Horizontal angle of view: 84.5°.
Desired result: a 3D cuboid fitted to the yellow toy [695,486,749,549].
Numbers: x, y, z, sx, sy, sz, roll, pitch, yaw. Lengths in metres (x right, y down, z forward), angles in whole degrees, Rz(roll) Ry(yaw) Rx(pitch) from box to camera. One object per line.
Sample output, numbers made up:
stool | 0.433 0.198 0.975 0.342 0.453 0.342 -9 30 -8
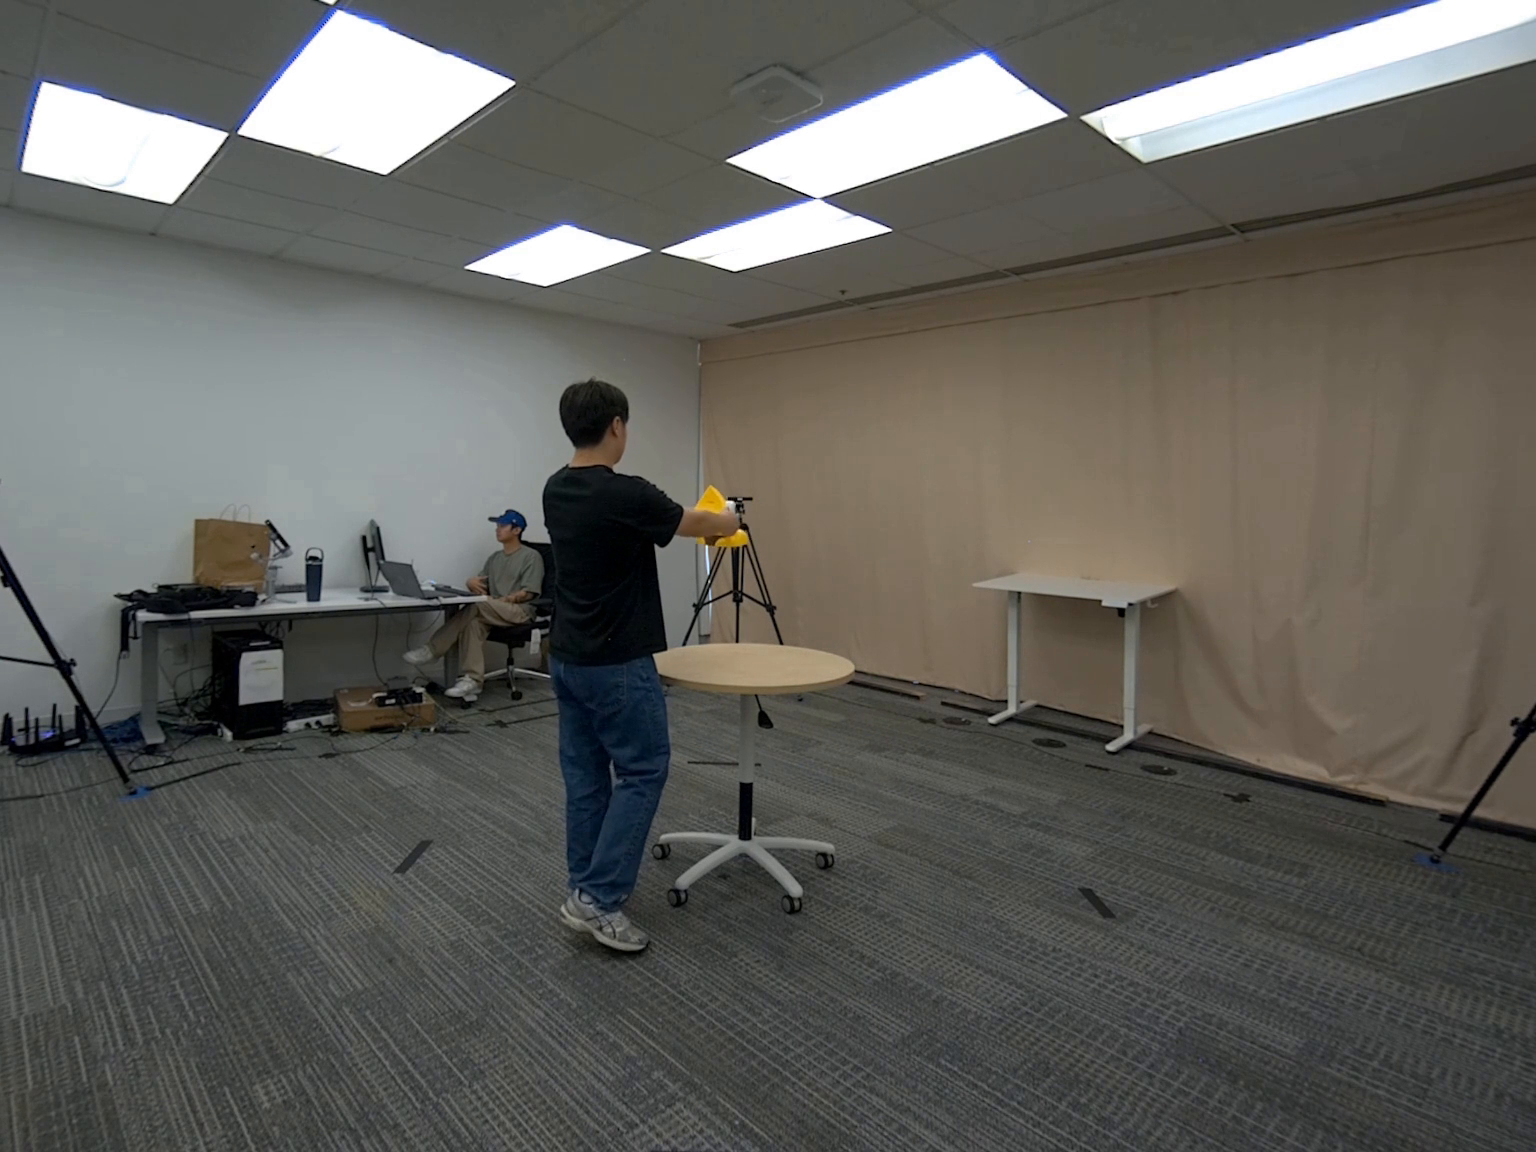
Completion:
yellow toy | -0.191 -0.239 3.243 0.210 0.229 0.190 6 13 33
